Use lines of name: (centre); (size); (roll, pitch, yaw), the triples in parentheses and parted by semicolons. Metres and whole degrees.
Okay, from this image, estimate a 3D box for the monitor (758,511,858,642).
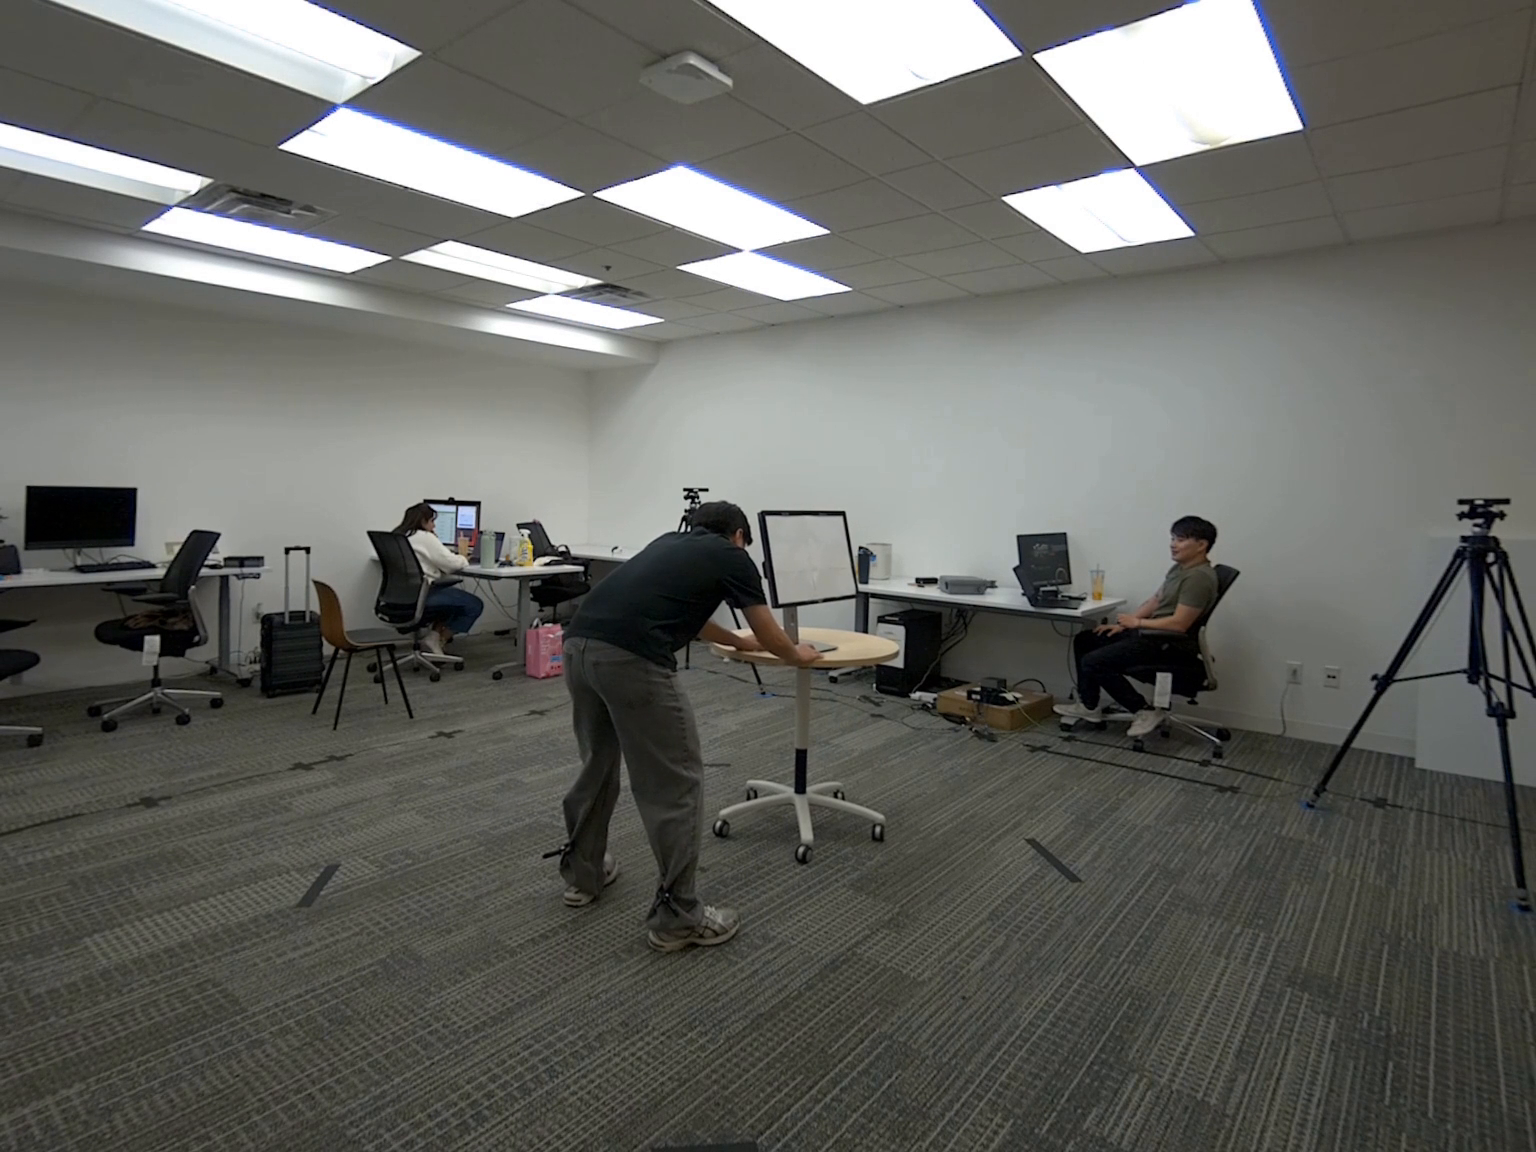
monitor: (0.108, 0.015, 3.348); (0.216, 0.555, 0.548); (-5, -1, 39)
